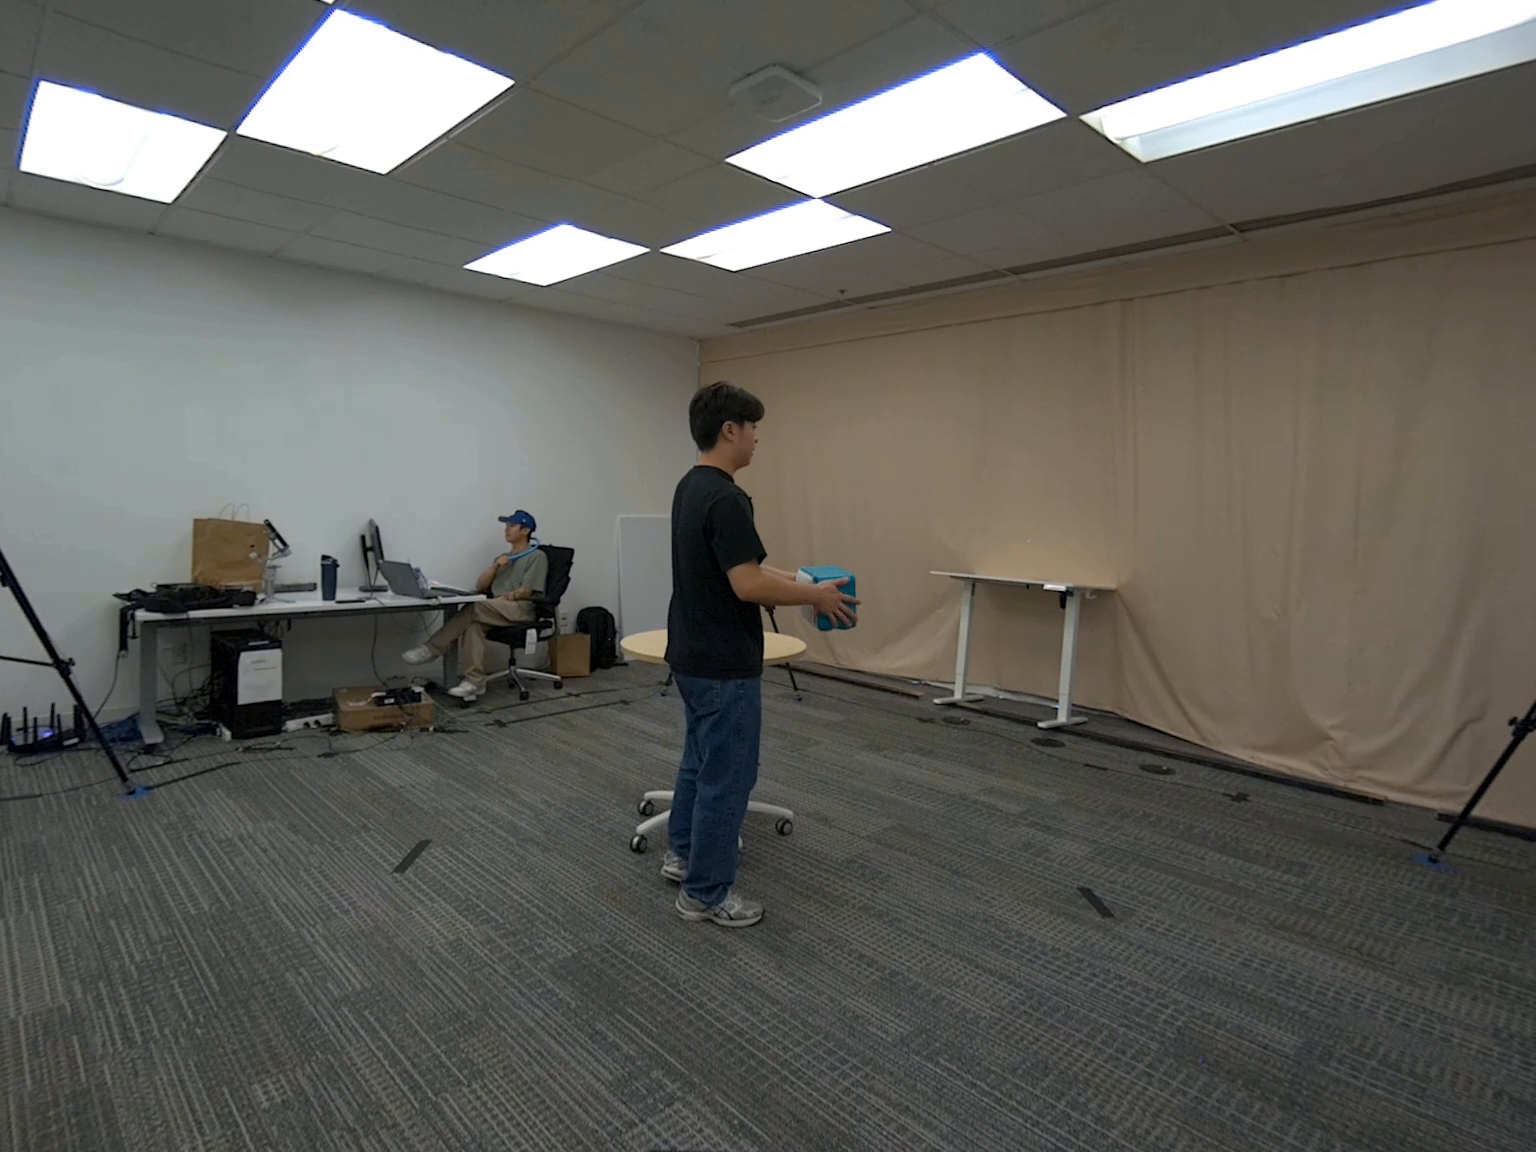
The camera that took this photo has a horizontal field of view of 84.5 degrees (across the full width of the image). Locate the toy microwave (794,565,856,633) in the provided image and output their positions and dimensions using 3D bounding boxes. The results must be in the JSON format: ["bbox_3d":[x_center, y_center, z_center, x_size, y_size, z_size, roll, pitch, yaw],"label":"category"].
[{"bbox_3d":[0.181,0.075,2.811,0.151,0.183,0.289,-4,8,-7],"label":"toy microwave"}]
